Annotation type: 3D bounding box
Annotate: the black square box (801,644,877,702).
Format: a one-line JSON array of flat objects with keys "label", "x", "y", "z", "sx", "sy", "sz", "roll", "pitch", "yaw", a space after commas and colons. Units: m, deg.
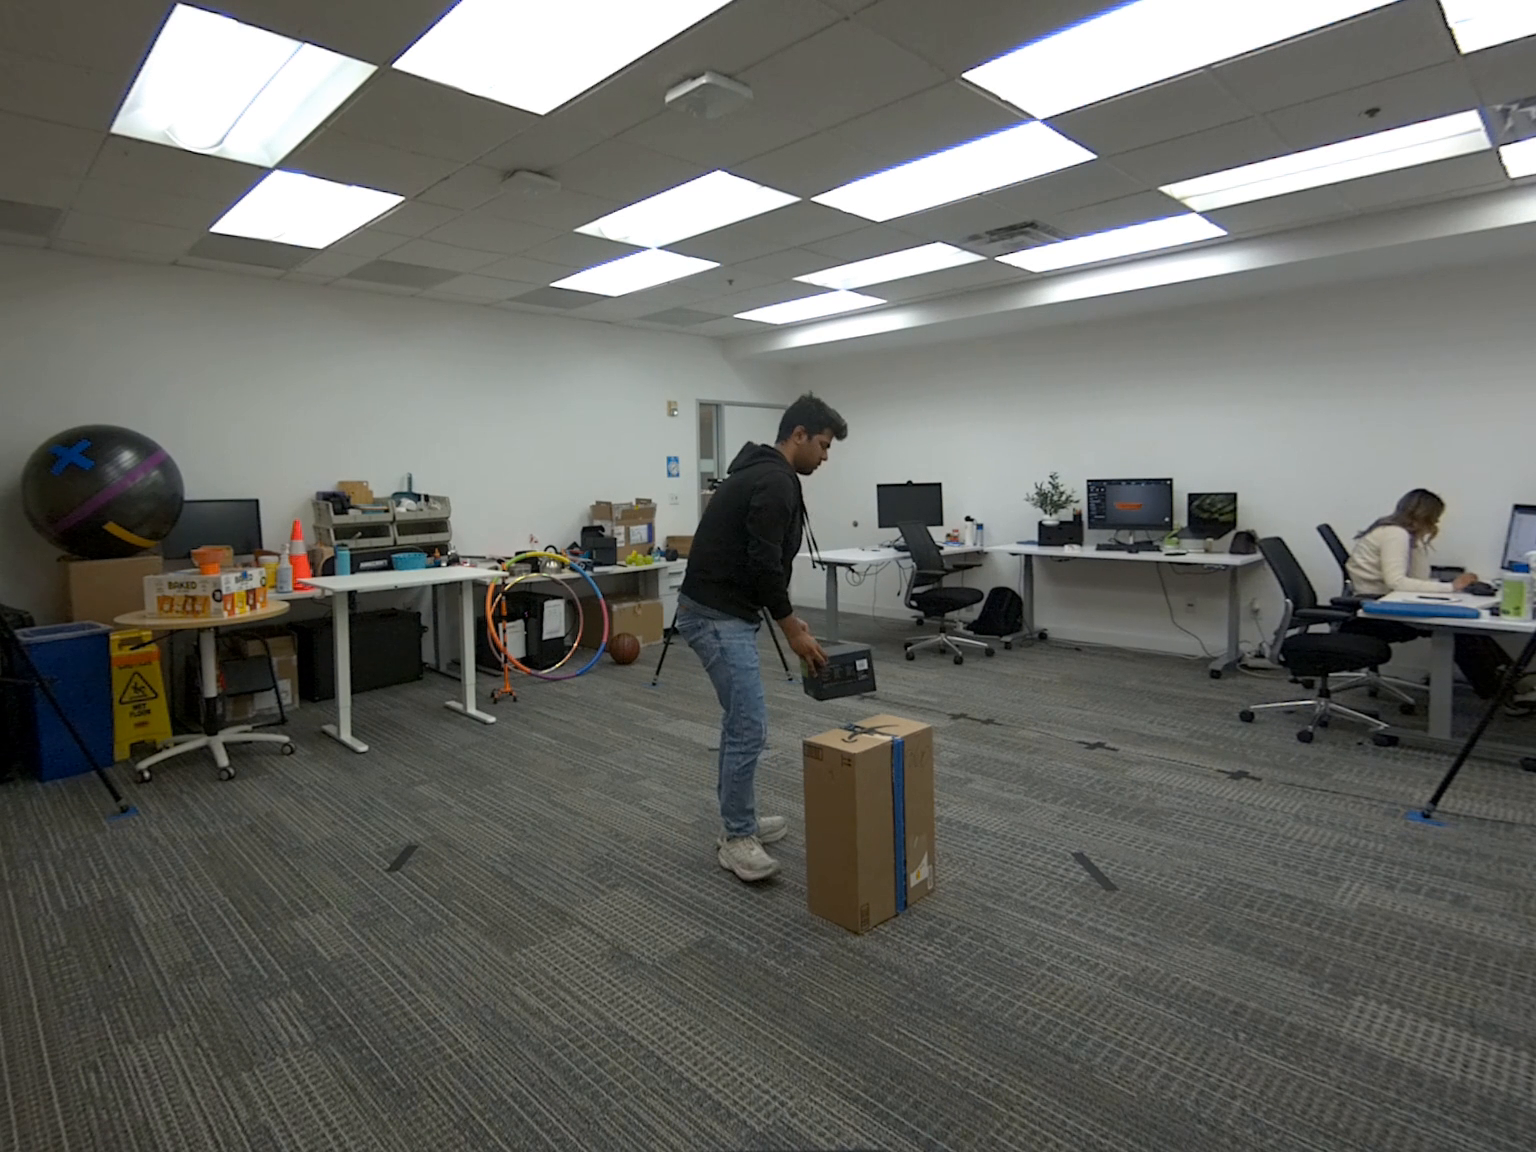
[{"label": "black square box", "x": 0.254, "y": 0.356, "z": 3.145, "sx": 0.215, "sy": 0.156, "sz": 0.229, "roll": -8, "pitch": 2, "yaw": -8}]
